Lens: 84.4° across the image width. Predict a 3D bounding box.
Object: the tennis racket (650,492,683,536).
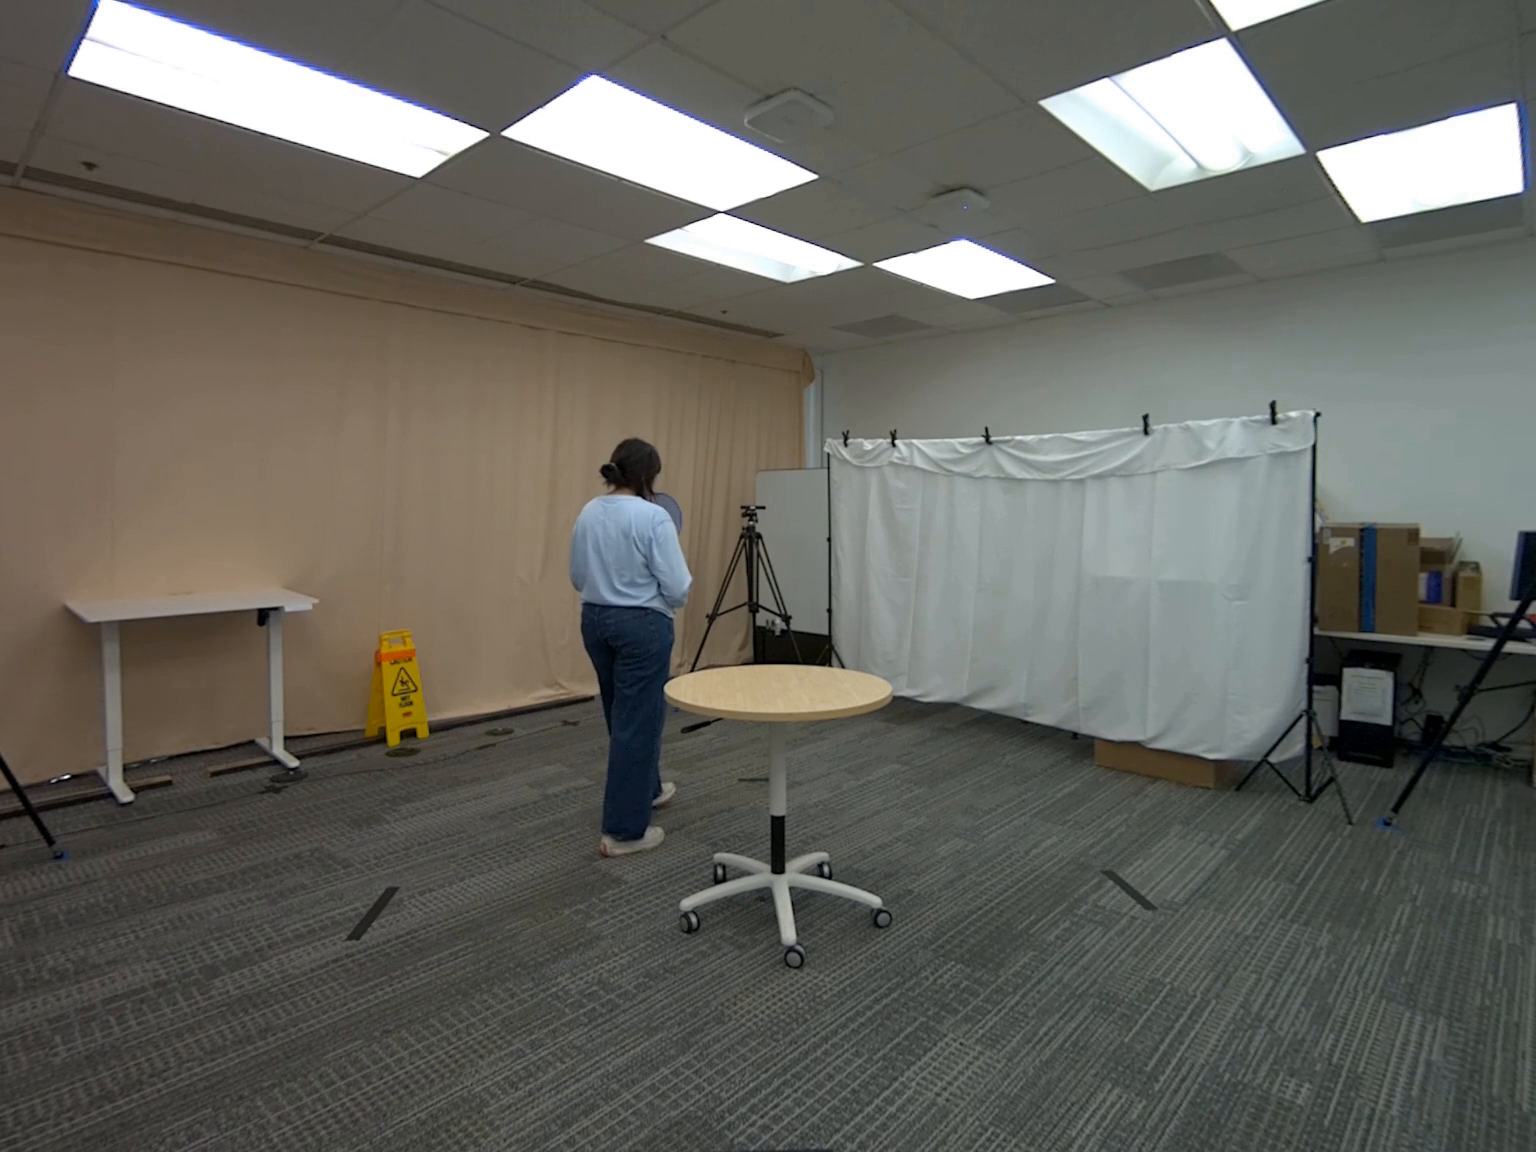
[{"bbox_3d":[-0.489,-0.172,3.722,0.213,0.437,0.031,8,-19,-2],"label":"tennis racket"}]
